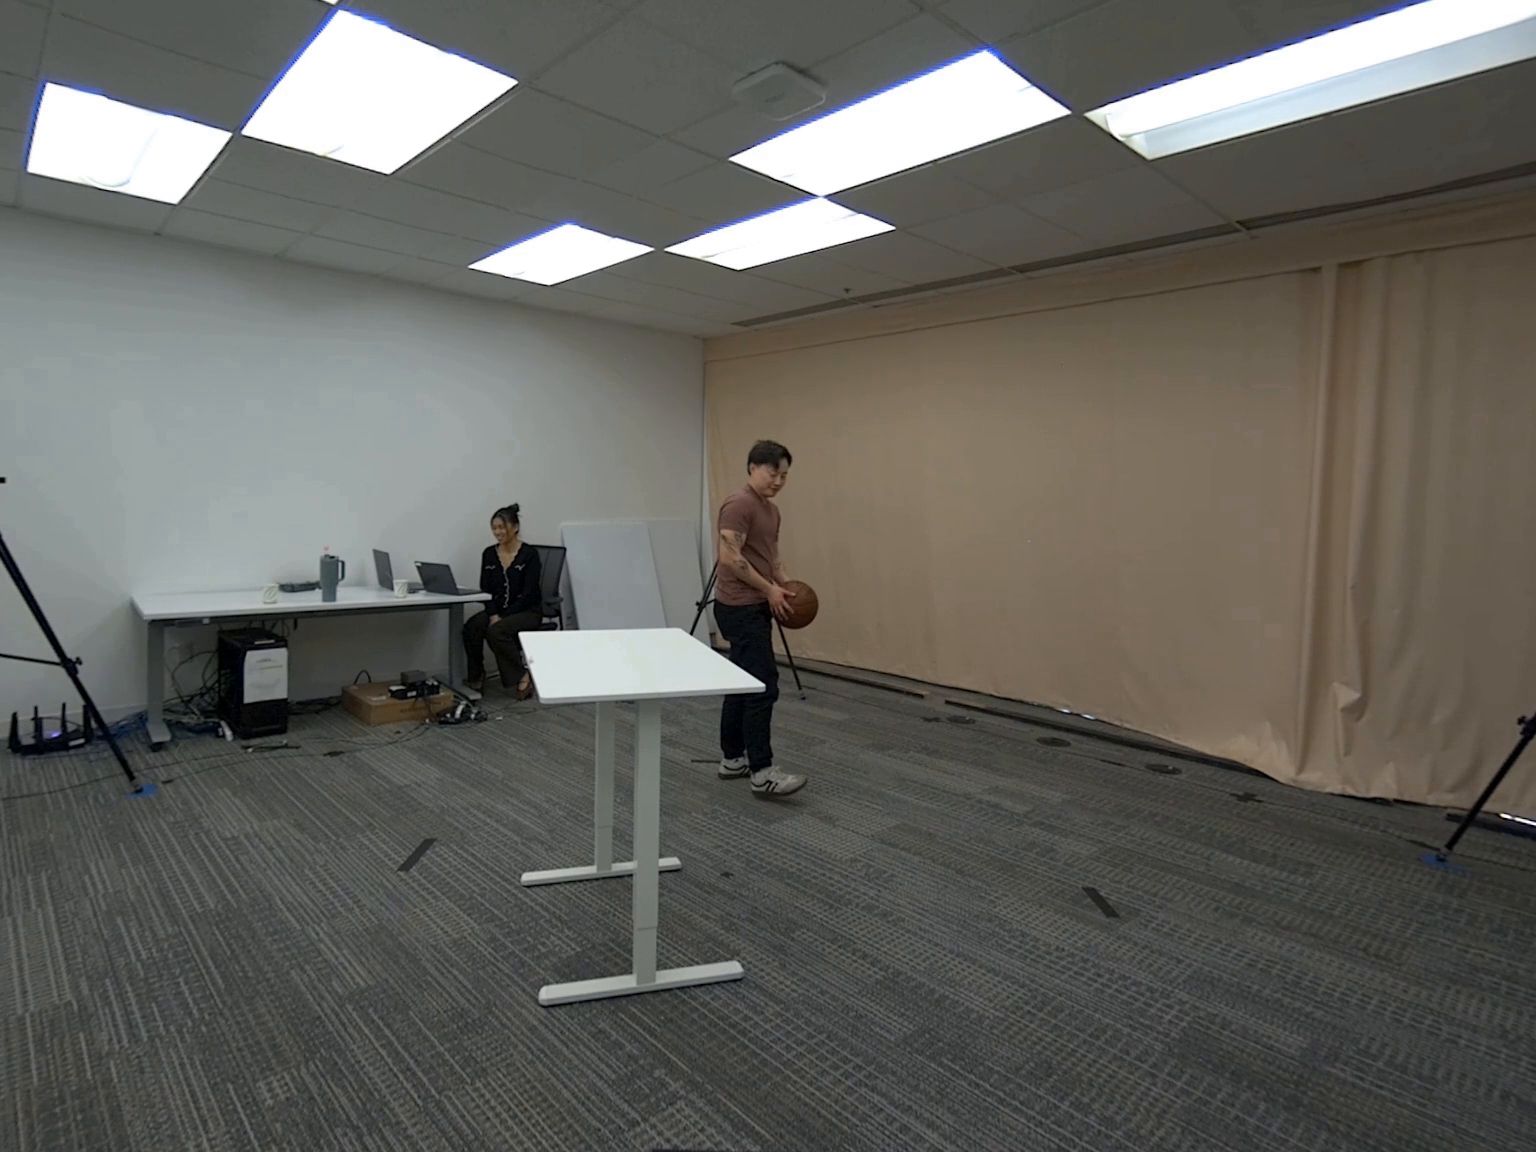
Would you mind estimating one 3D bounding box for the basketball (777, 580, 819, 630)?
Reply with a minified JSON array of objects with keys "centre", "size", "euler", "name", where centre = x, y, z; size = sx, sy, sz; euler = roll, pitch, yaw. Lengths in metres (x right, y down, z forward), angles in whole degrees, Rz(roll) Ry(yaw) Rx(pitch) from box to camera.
[{"centre":[0.110,0.134,4.078],"size":[0.236,0.235,0.237],"euler":[1,4,-1],"name":"basketball"}]
